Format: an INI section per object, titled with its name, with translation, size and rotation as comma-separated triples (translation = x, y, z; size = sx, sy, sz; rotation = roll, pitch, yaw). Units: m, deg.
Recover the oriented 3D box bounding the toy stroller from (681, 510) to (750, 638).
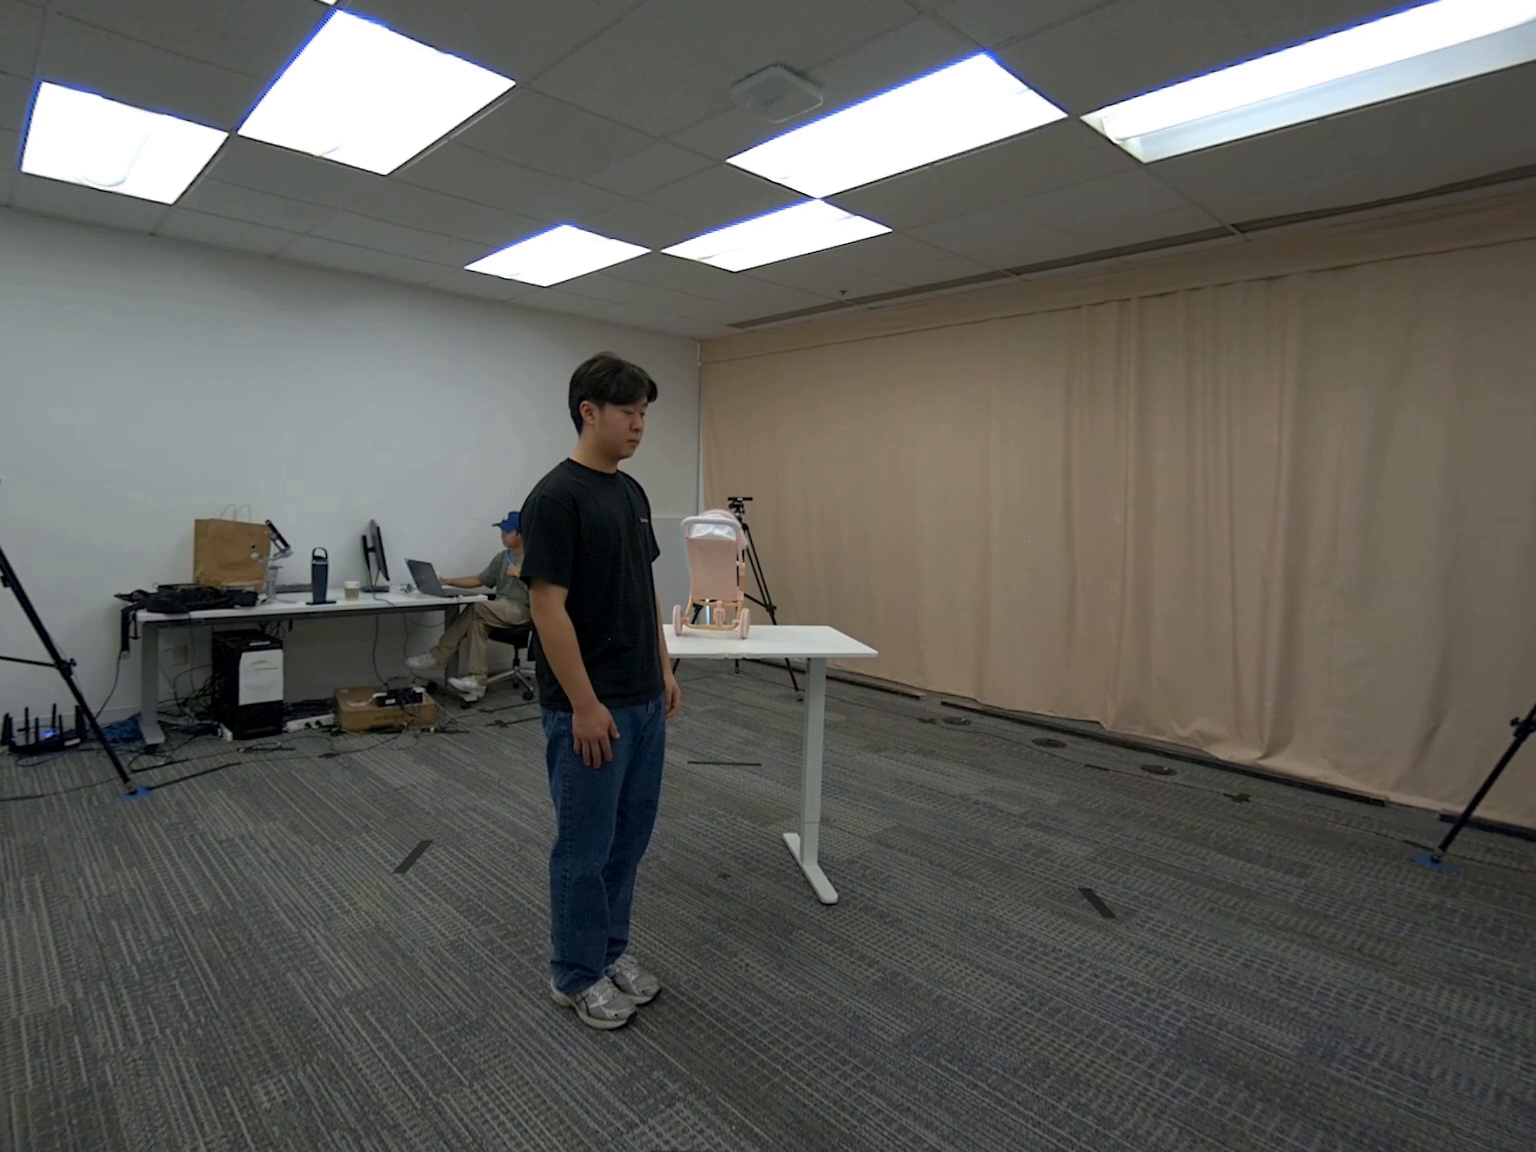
[toy stroller]
translation = -0.200, -0.006, 3.150
size = 0.284, 0.528, 0.343
rotation = 3, 19, 9
